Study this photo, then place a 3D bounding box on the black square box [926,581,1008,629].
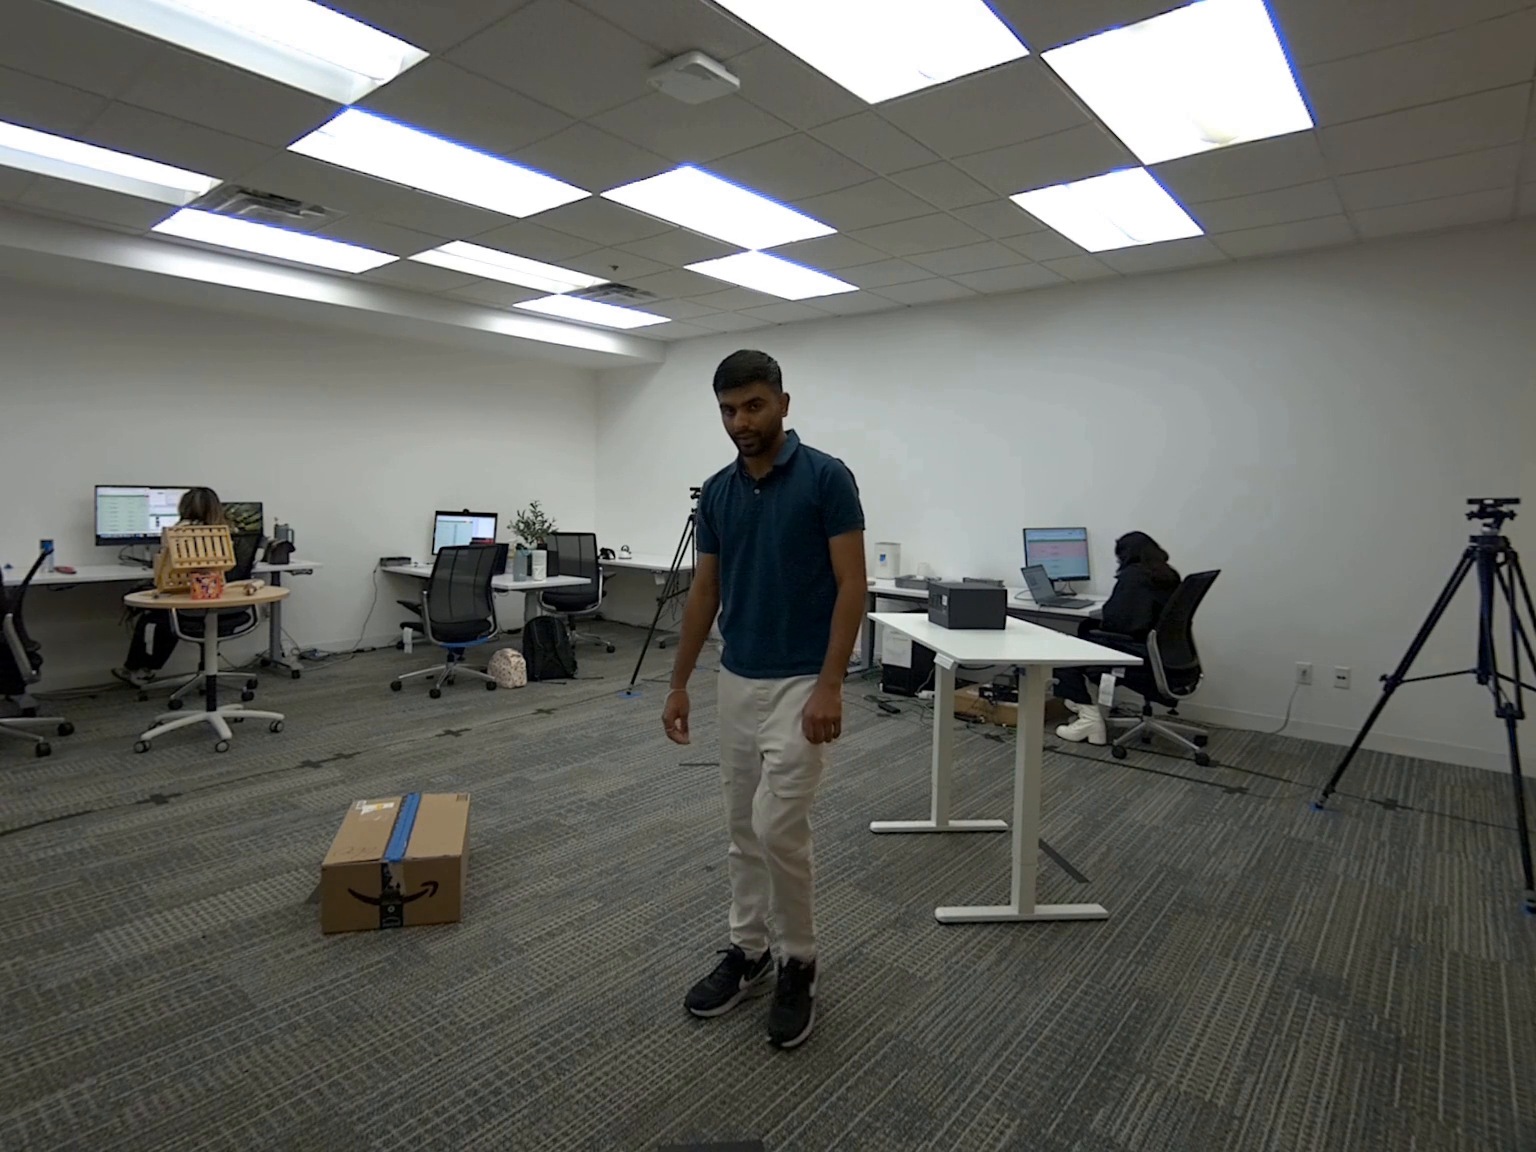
[{"bbox_3d":[0.769,0.109,3.280,0.226,0.155,0.220,1,4,-10],"label":"black square box"}]
